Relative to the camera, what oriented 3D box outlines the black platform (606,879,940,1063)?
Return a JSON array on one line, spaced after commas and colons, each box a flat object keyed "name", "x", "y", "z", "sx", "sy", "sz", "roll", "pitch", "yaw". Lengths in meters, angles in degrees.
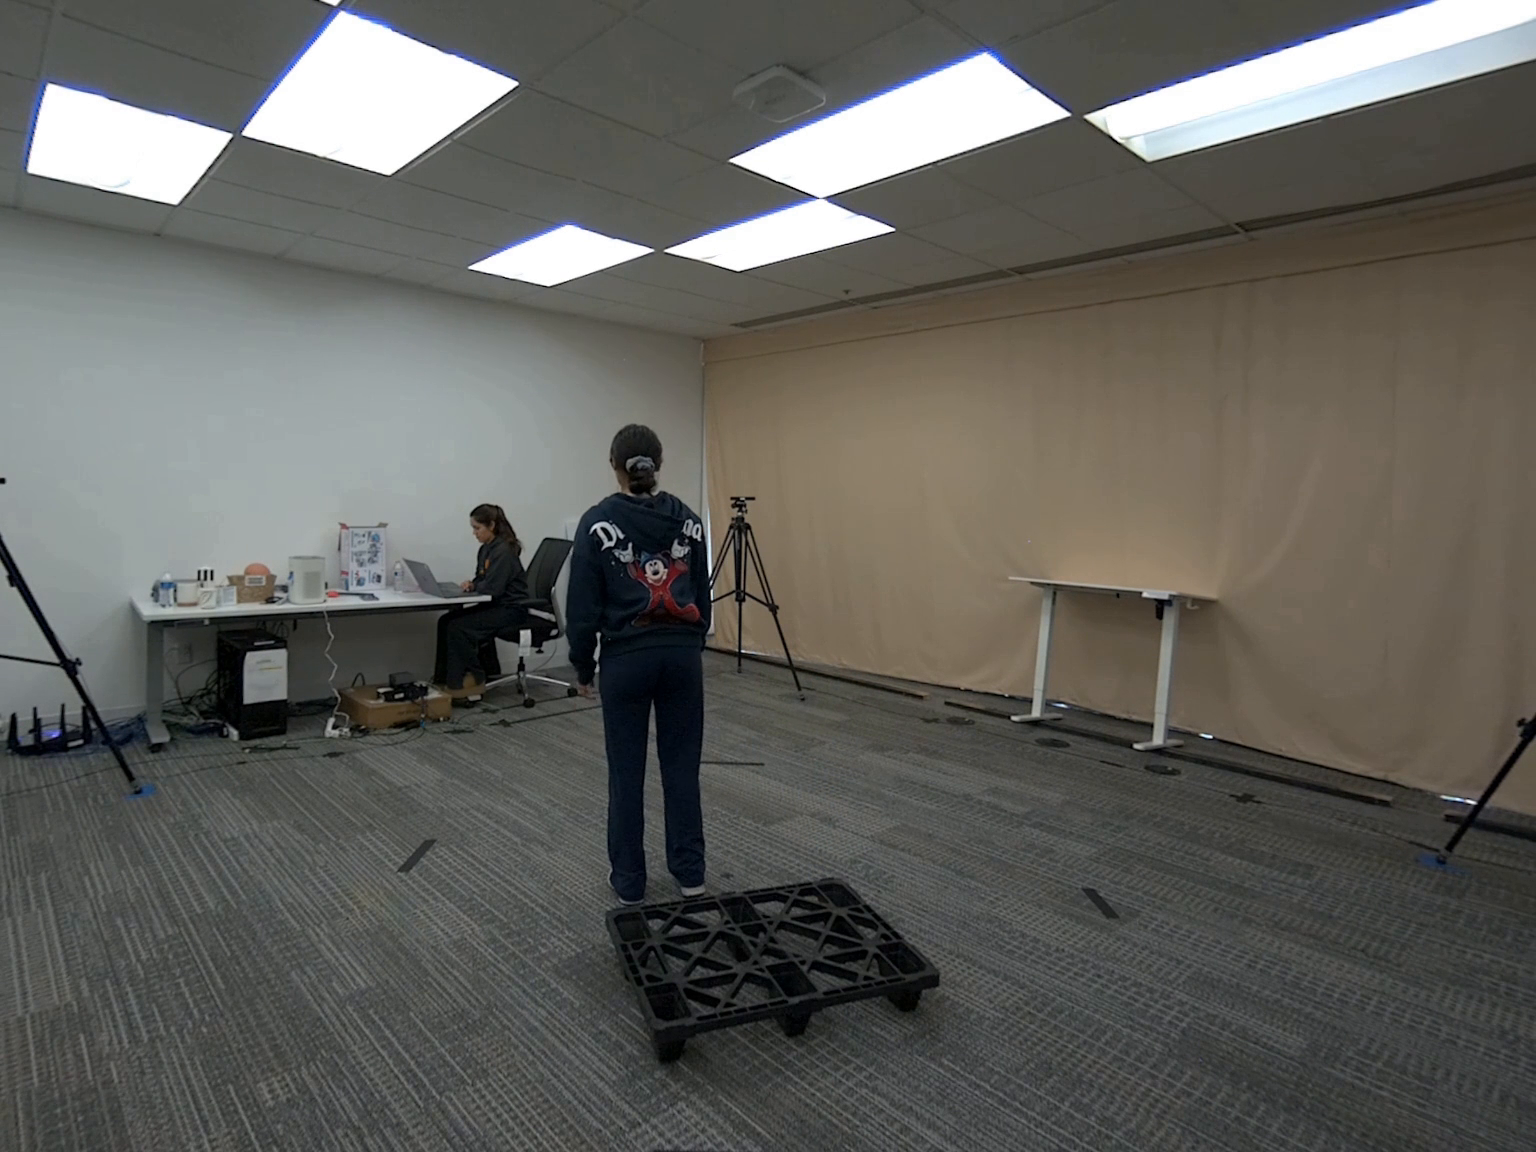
[{"name": "black platform", "x": -0.019, "y": 1.109, "z": 2.407, "sx": 0.793, "sy": 0.143, "sz": 0.616, "roll": -1, "pitch": 5, "yaw": -22}]
